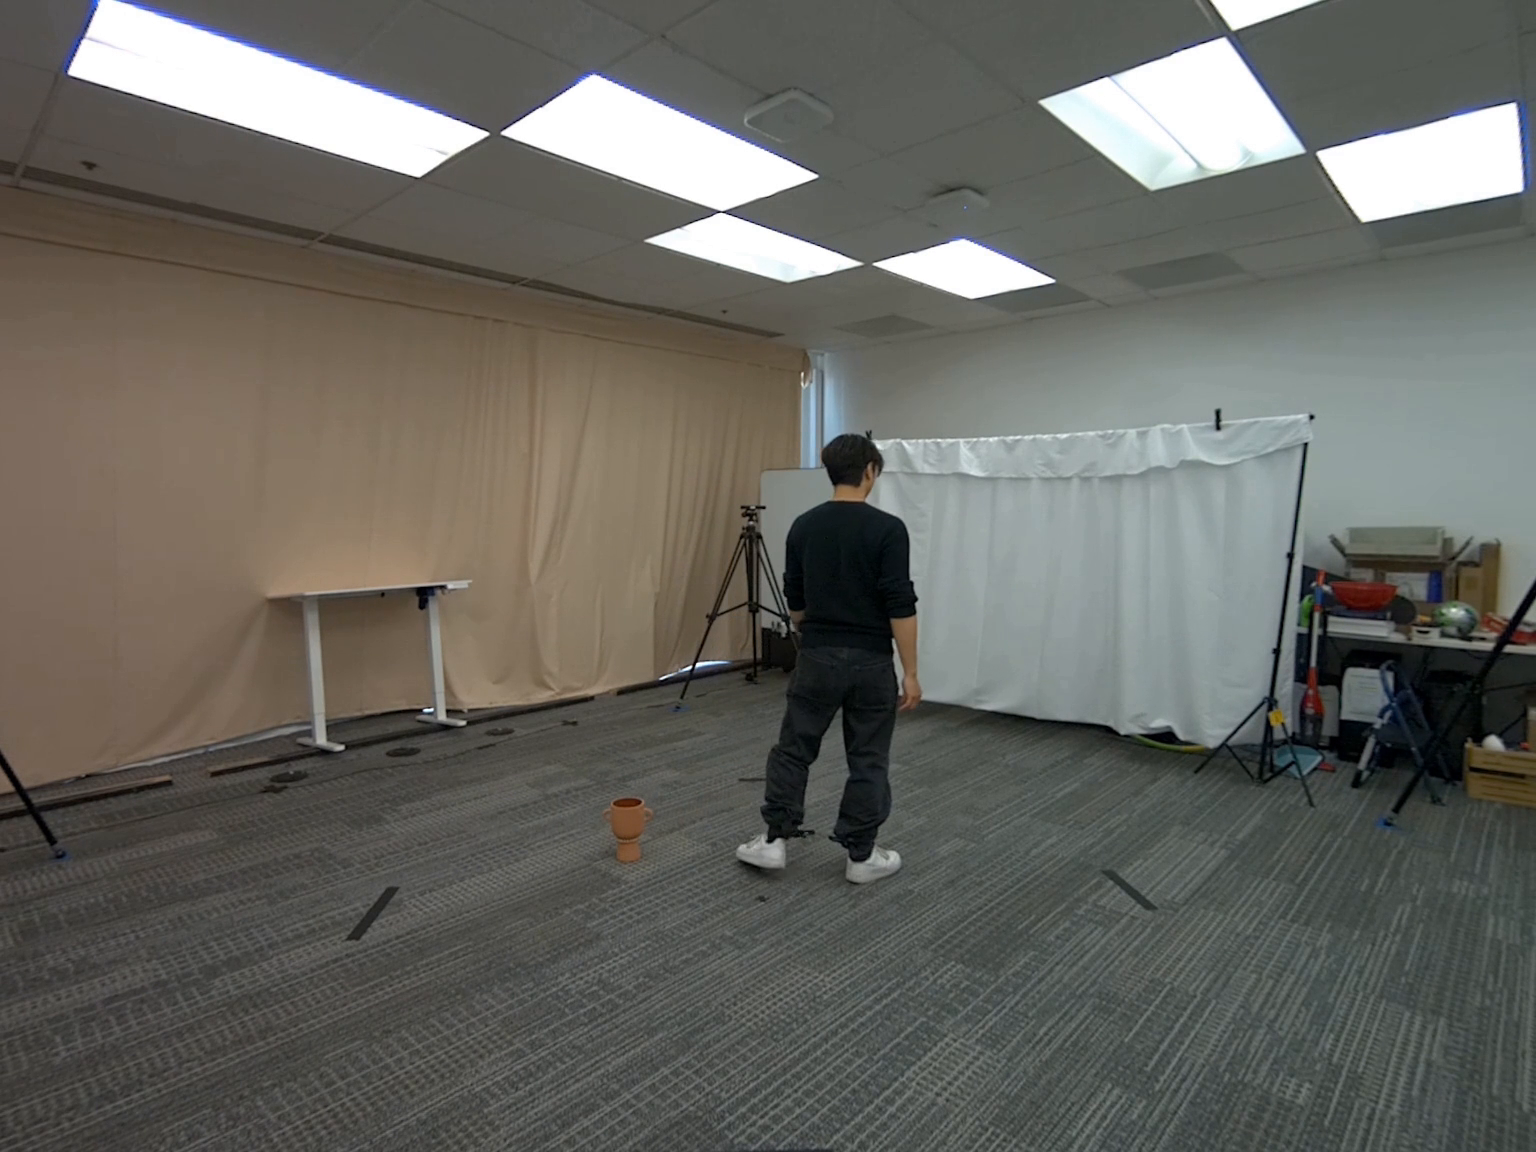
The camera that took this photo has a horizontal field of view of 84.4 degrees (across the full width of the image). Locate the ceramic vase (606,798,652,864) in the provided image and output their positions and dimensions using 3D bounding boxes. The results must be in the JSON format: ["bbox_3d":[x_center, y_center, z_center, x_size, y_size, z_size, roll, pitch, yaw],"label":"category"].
[{"bbox_3d":[-0.556,1.008,3.346,0.164,0.219,0.130,2,4,40],"label":"ceramic vase"}]
